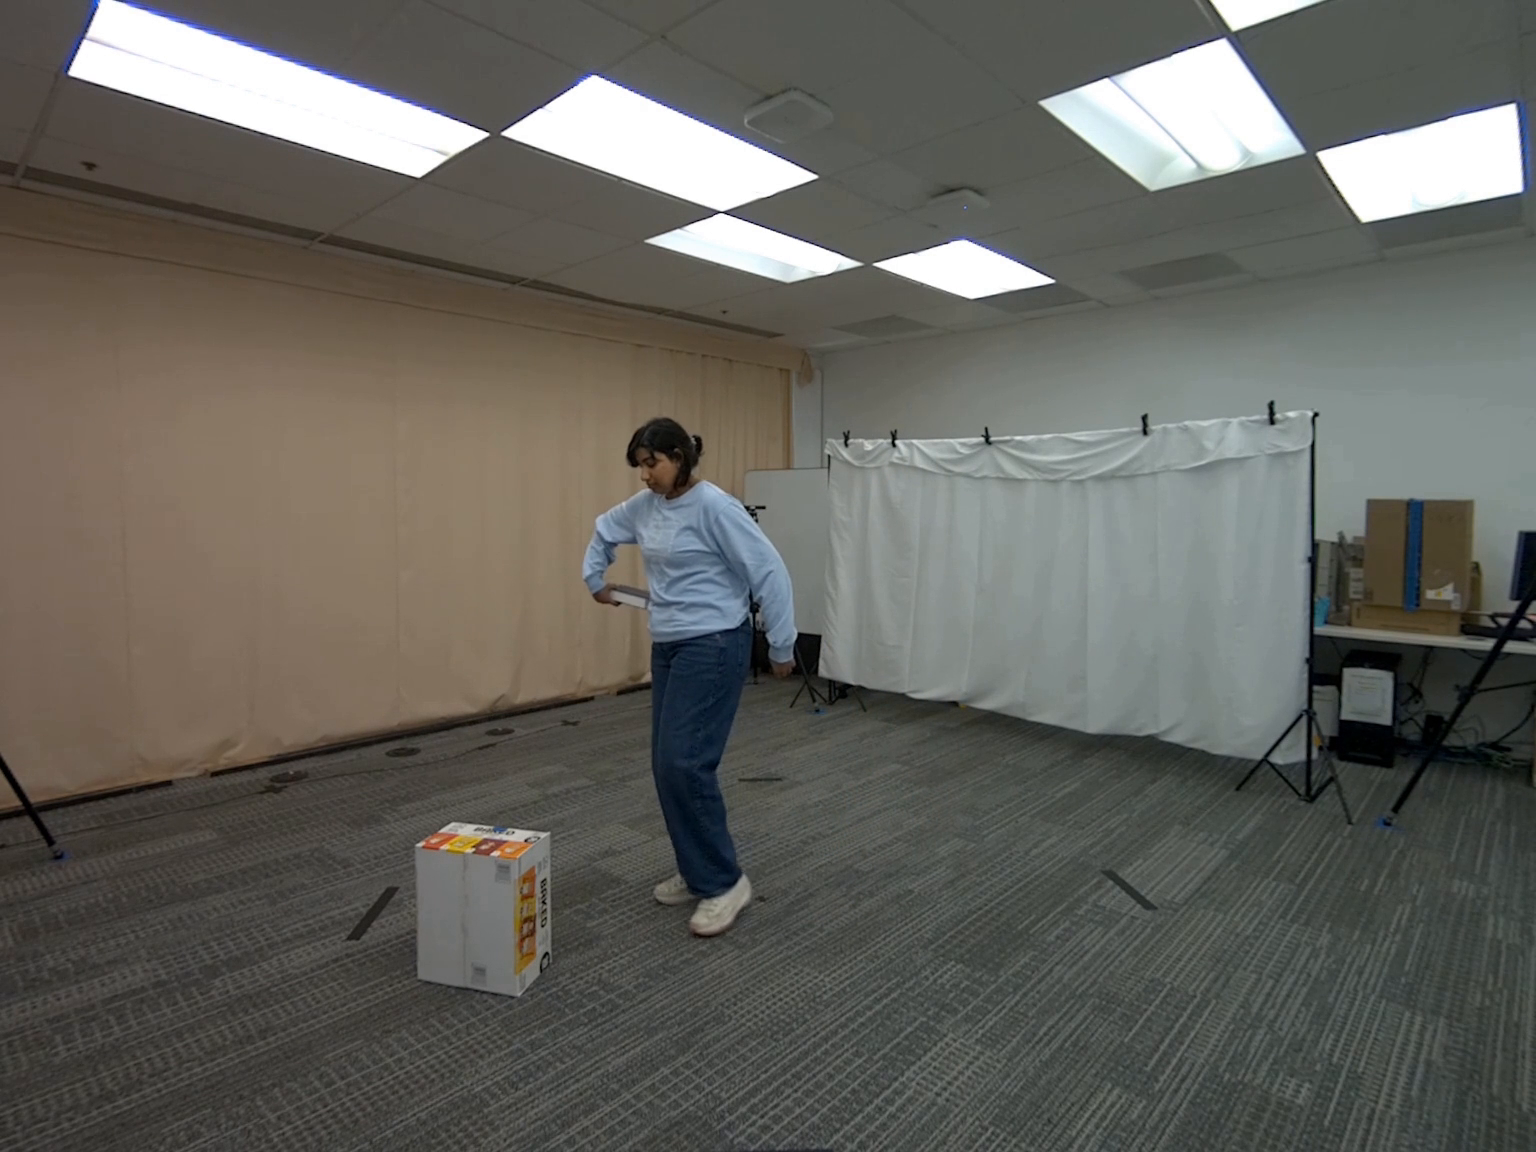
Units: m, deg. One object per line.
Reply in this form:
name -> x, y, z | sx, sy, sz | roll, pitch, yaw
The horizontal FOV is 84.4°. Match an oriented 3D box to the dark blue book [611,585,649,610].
dark blue book -> -0.498, 0.079, 3.173 | 0.252, 0.045, 0.159 | 12, 8, 24
